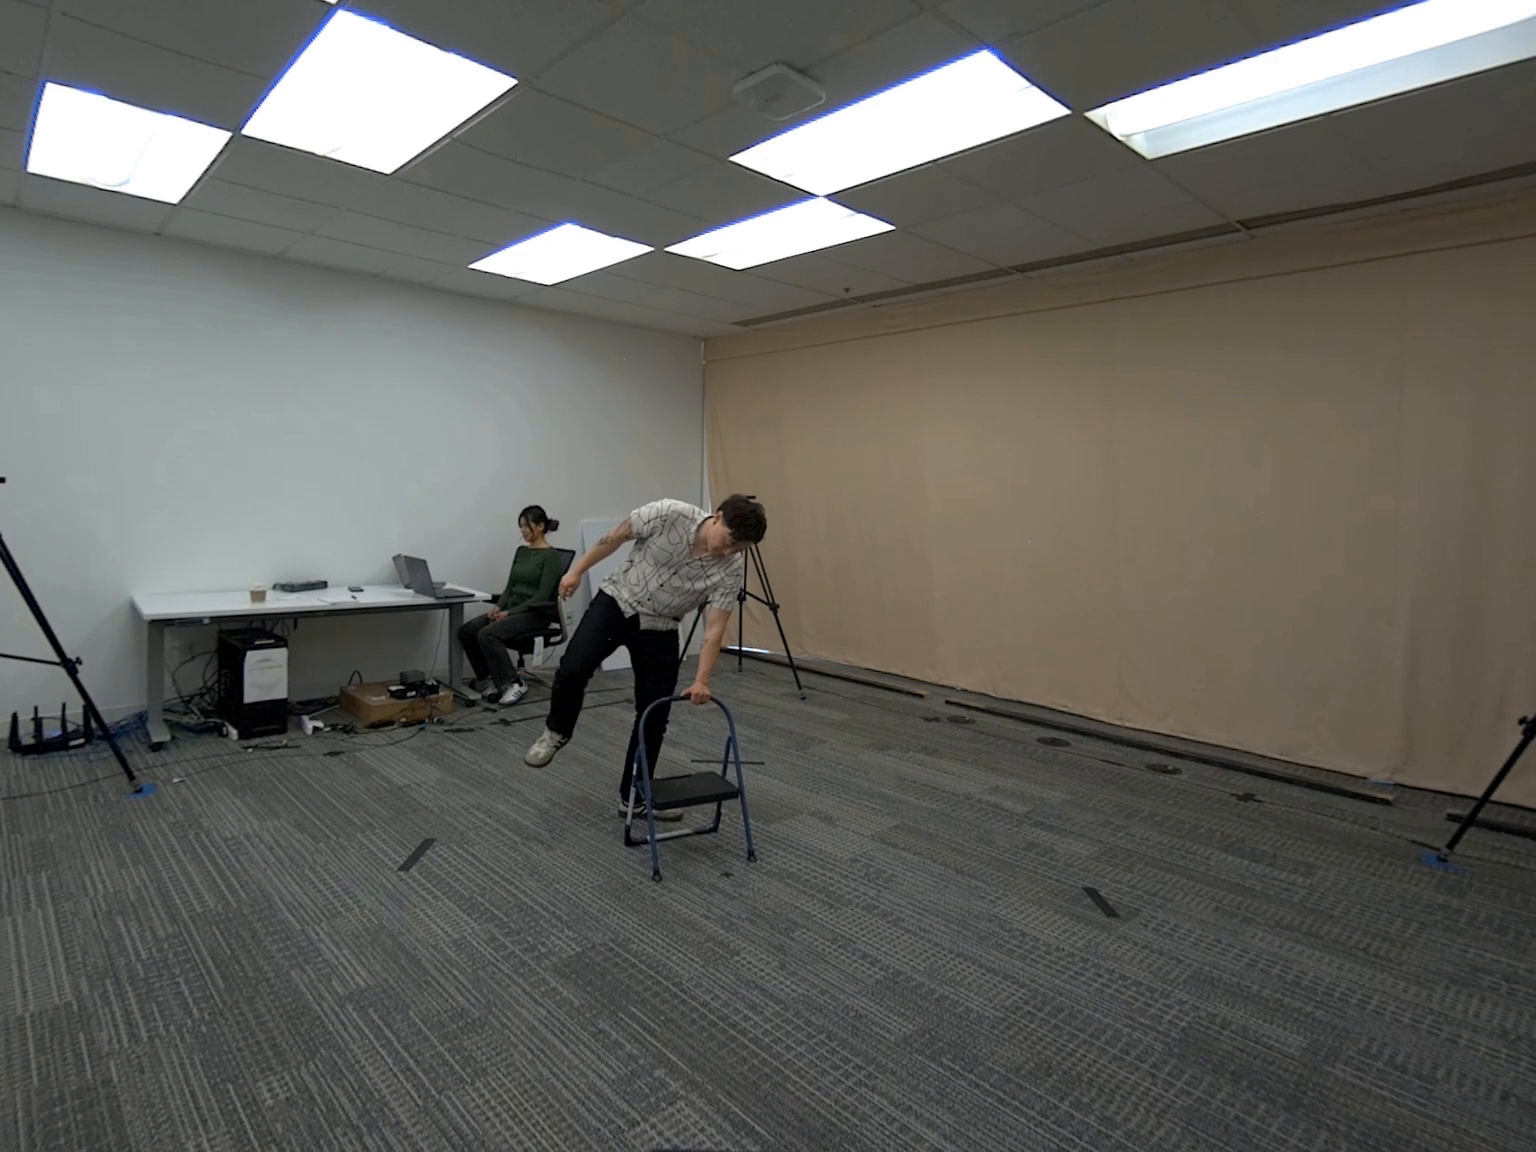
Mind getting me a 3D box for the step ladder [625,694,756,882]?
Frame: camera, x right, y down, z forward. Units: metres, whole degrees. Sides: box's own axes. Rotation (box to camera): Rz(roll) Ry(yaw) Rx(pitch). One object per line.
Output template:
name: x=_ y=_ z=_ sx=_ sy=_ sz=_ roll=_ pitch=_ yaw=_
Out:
step ladder: x=-0.308 y=0.776 z=3.270 sx=0.422 sy=0.605 sz=0.357 roll=-1 pitch=3 yaw=-29
